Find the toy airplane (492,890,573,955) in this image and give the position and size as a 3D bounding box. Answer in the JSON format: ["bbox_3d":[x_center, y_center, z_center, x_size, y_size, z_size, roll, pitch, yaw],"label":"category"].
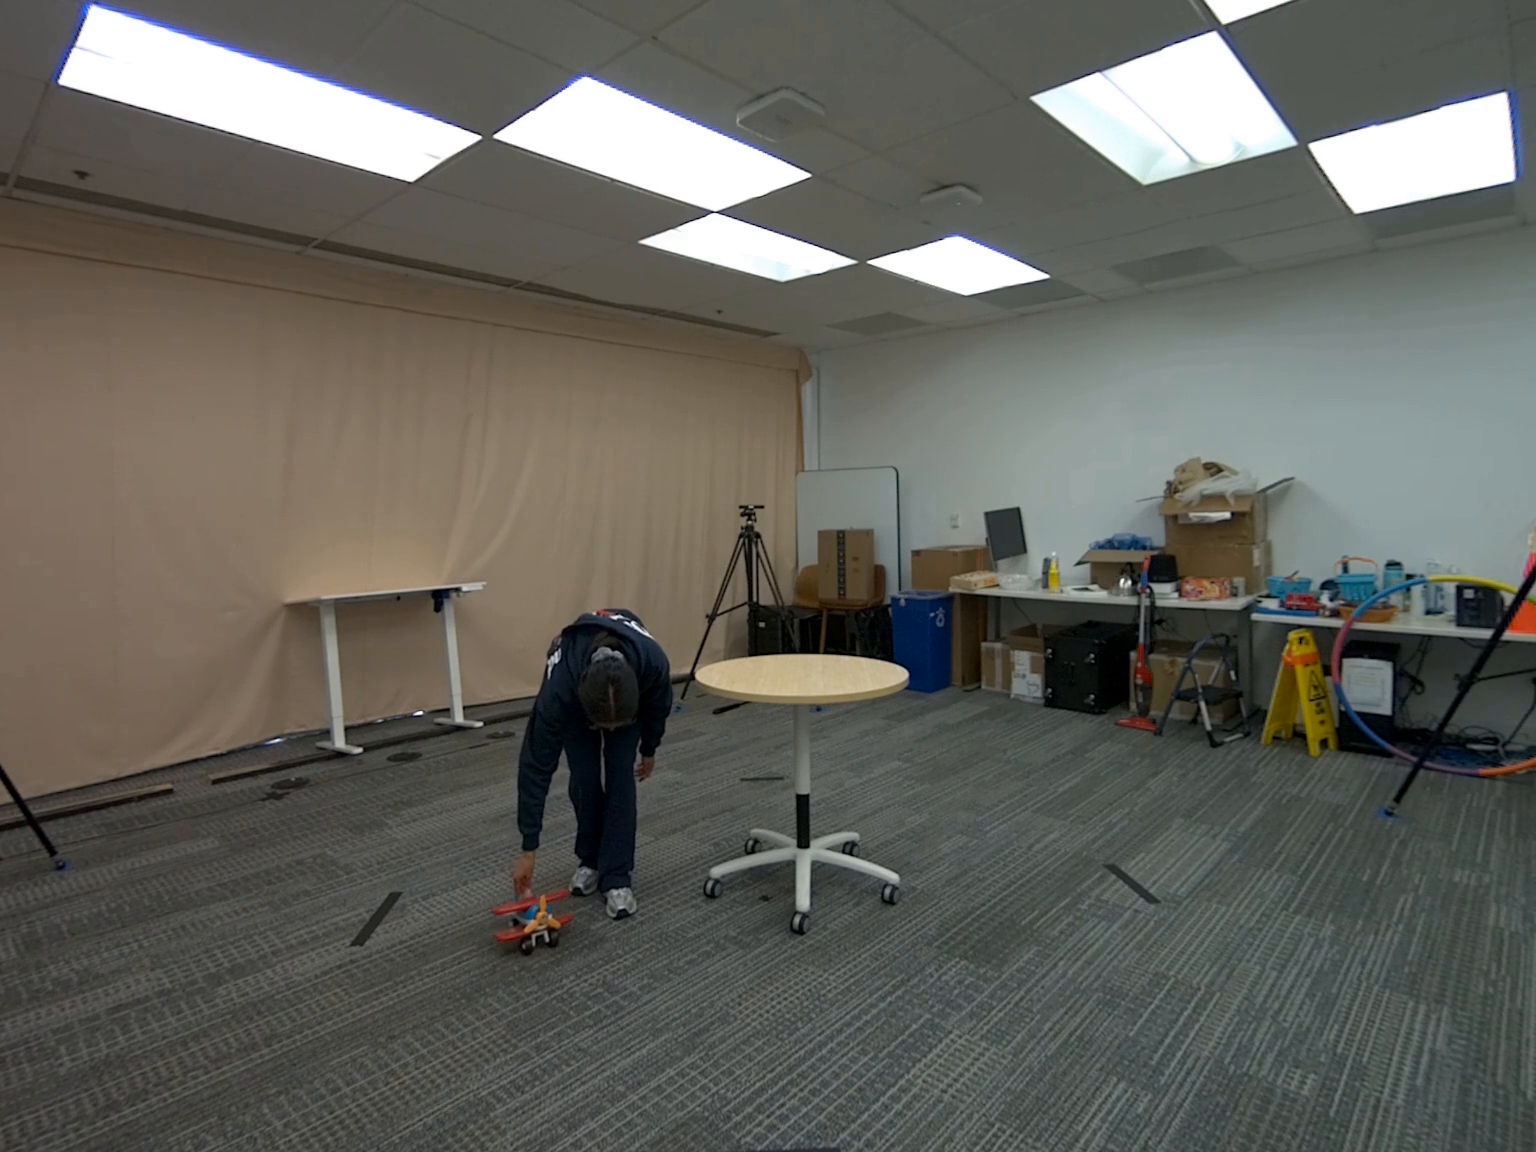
[{"bbox_3d":[-0.789,1.103,2.725,0.266,0.156,0.245,3,5,27],"label":"toy airplane"}]
